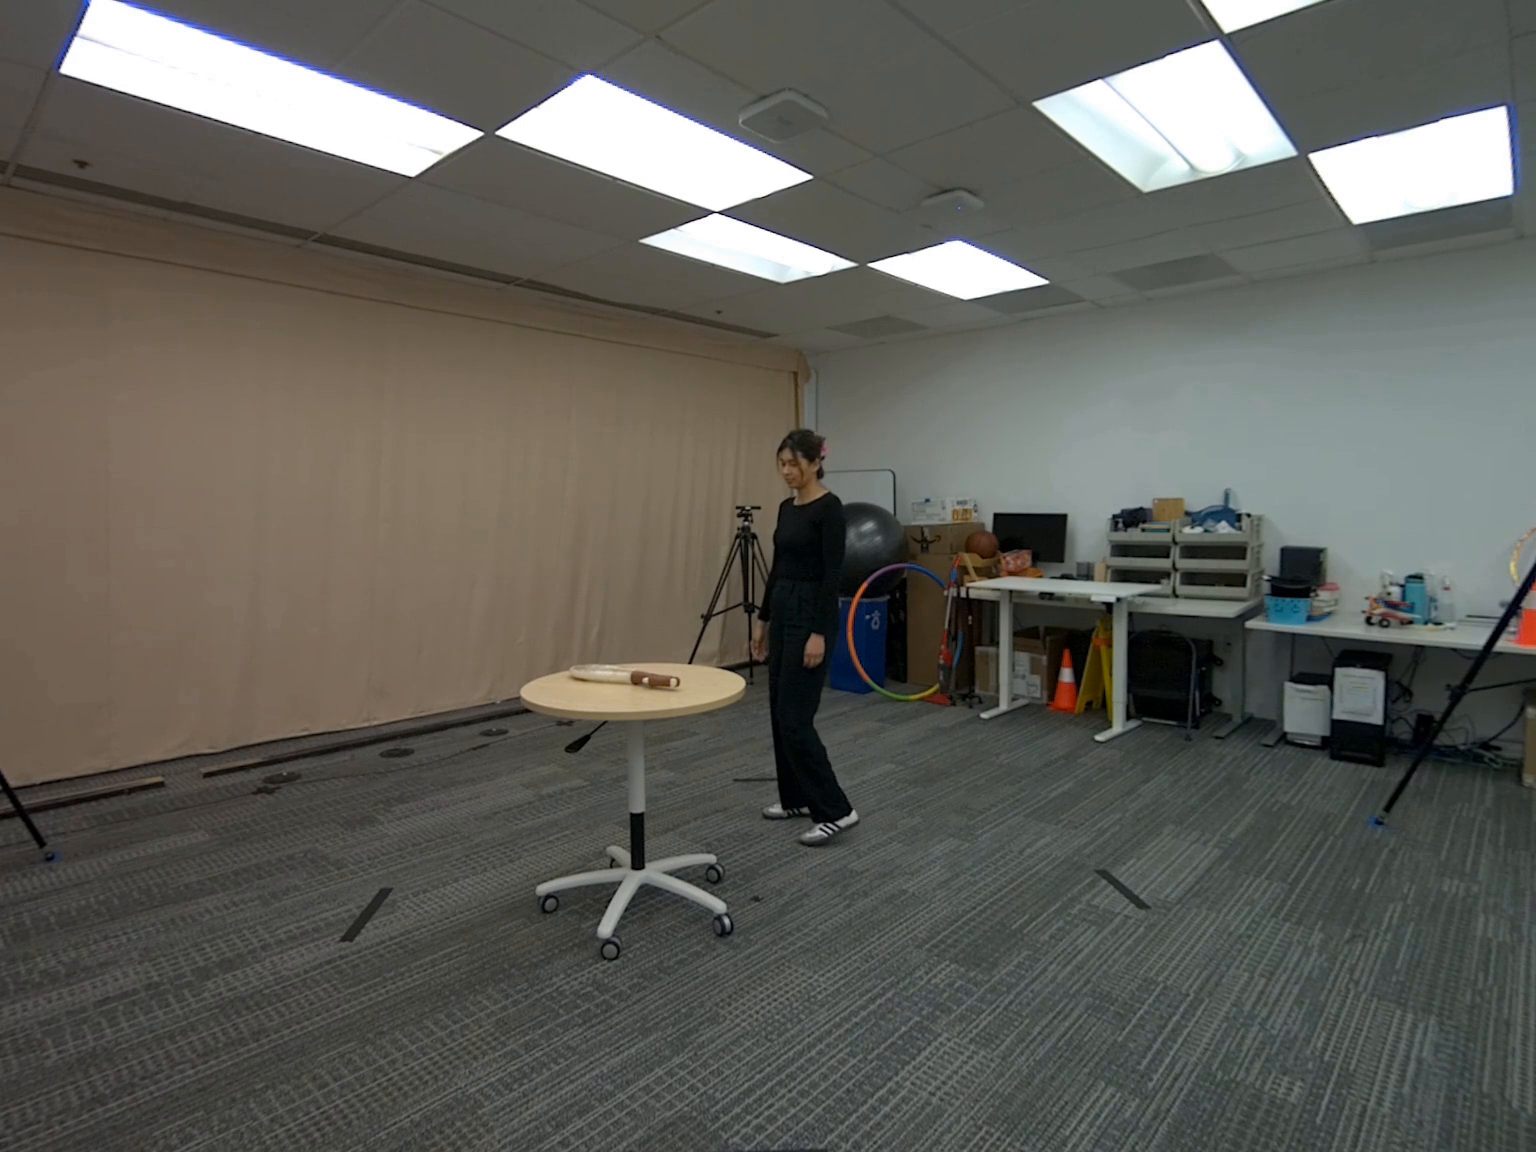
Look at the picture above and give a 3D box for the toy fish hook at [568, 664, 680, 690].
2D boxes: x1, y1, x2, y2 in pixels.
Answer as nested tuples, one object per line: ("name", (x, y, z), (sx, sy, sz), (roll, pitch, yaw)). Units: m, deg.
("toy fish hook", (-0.484, 0.345, 2.956), (0.522, 0.048, 0.218), (2, 5, 32))
